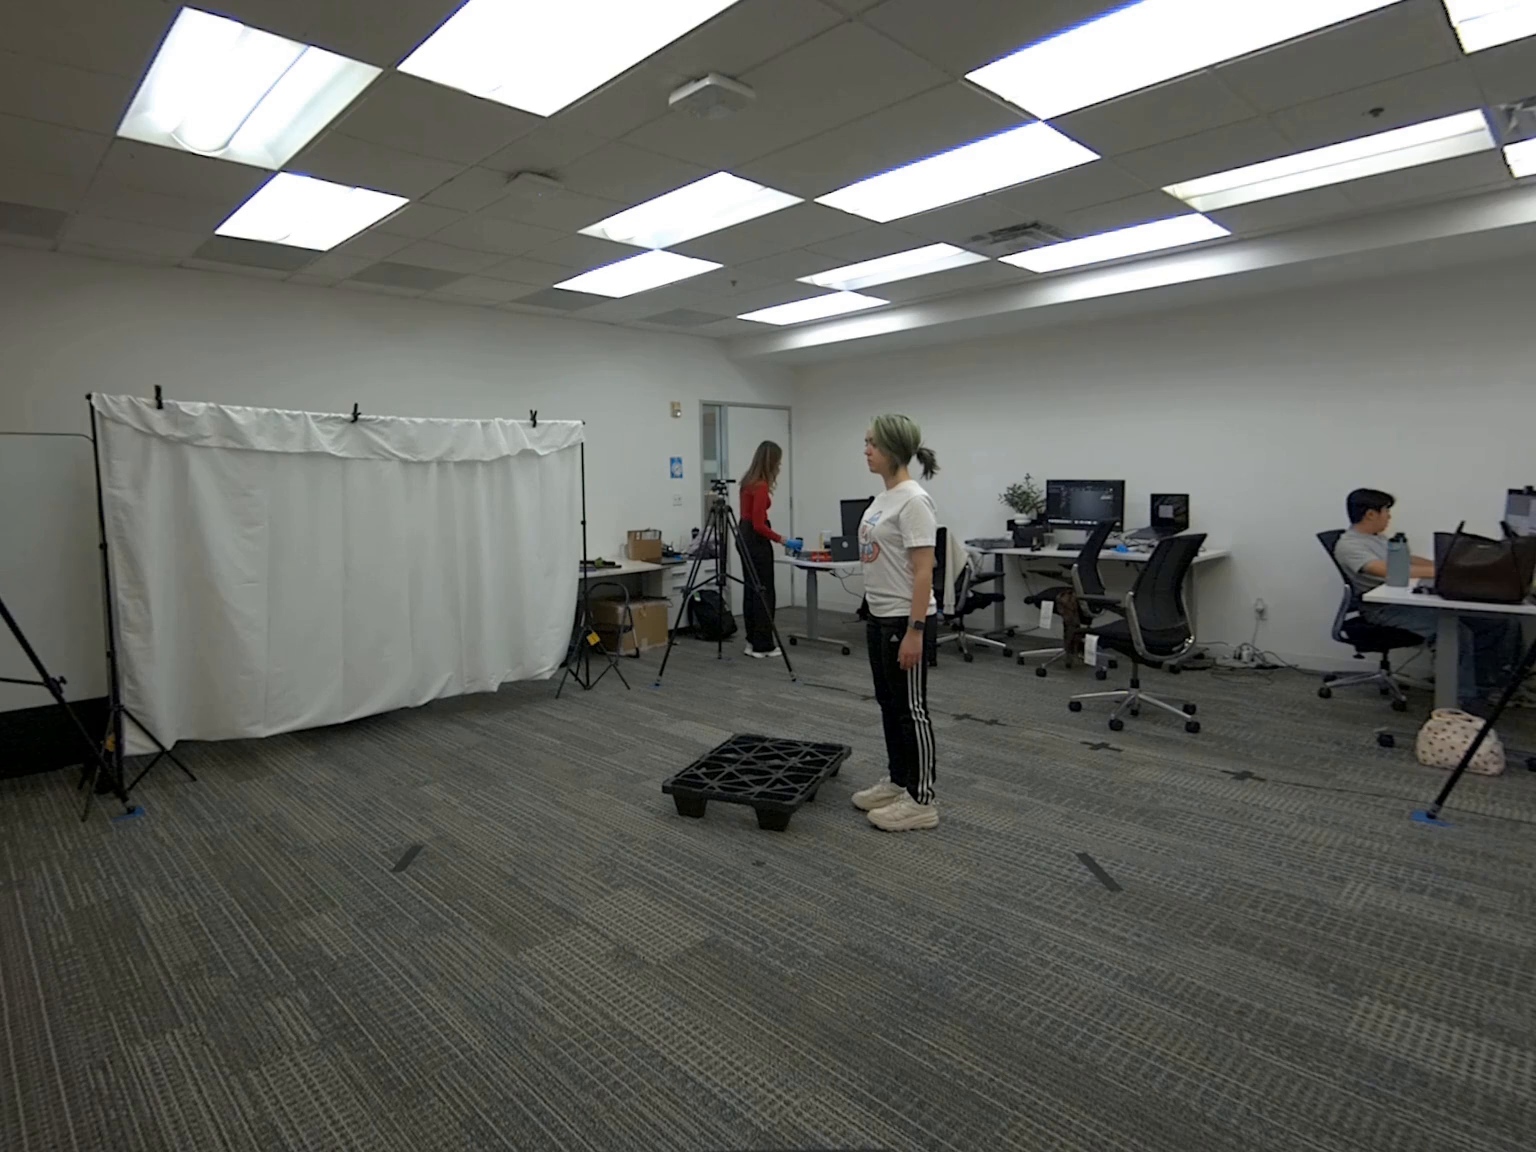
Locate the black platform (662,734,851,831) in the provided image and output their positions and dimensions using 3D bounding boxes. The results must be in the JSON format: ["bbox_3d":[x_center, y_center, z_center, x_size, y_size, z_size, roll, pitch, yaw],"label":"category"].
[{"bbox_3d":[-0.025,0.900,3.802,0.618,0.143,0.792,0,6,23],"label":"black platform"}]
